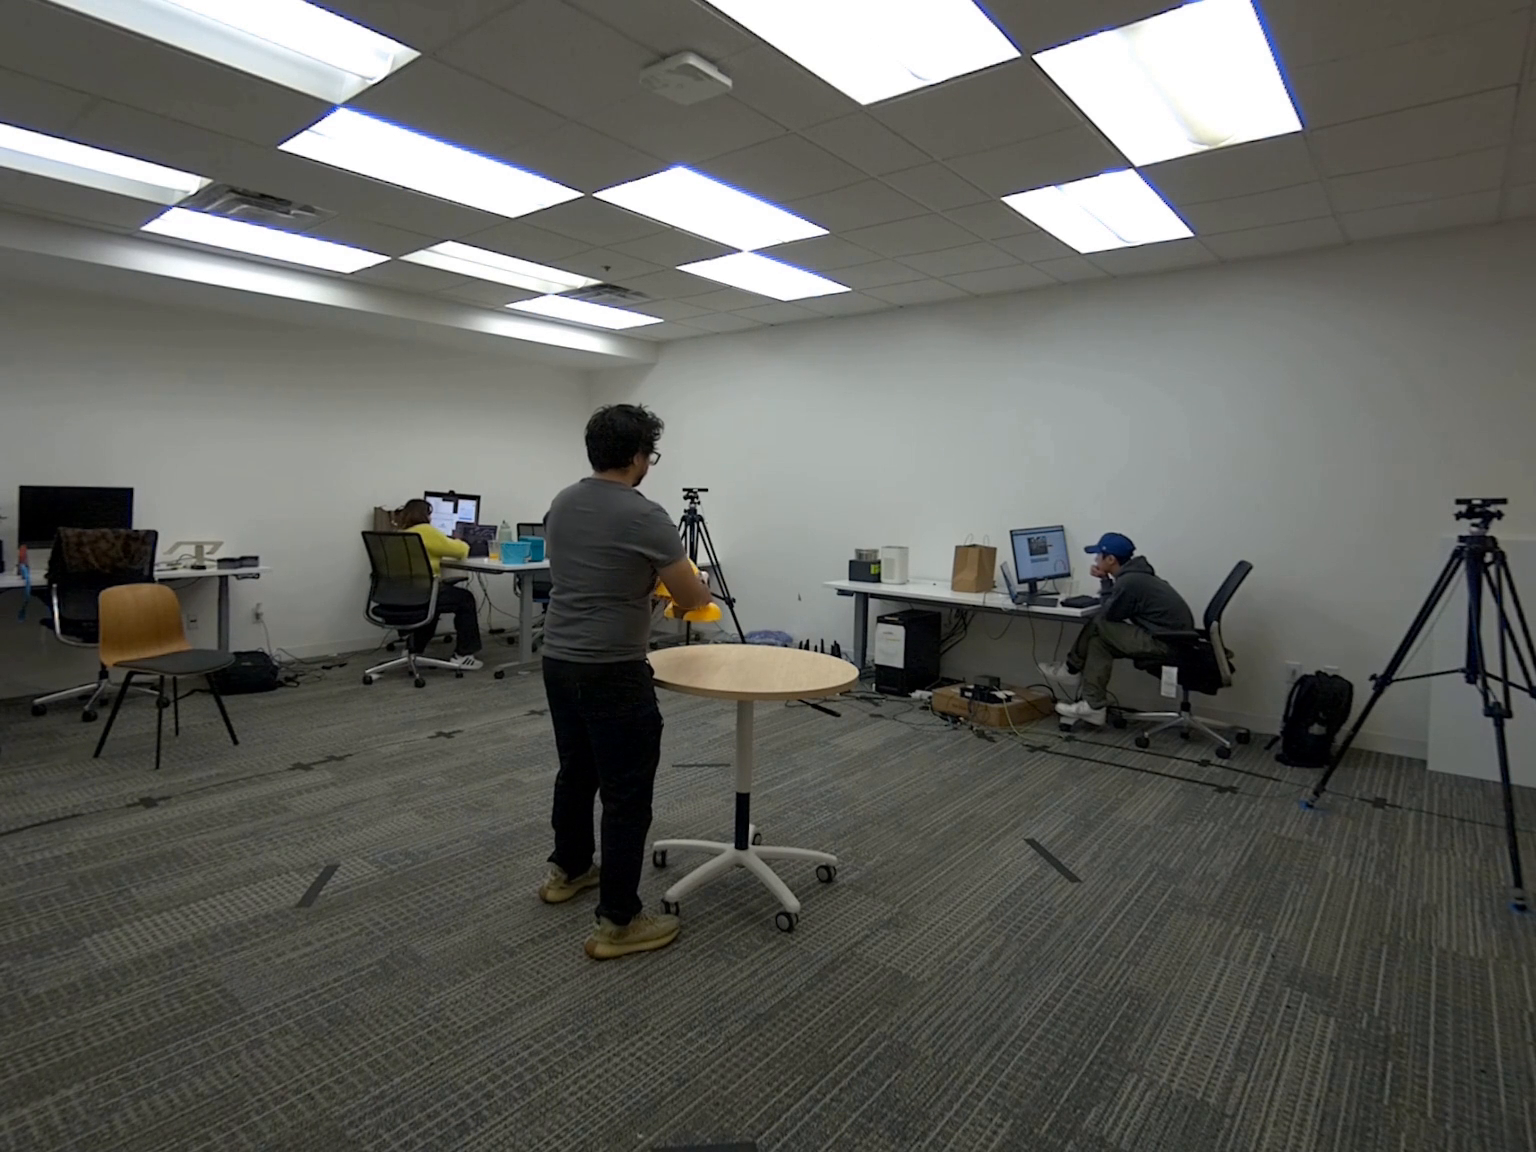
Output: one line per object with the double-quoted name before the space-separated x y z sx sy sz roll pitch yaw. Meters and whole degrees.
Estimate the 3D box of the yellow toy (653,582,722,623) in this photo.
"yellow toy" -0.281 0.030 3.028 0.212 0.230 0.187 5 5 39
